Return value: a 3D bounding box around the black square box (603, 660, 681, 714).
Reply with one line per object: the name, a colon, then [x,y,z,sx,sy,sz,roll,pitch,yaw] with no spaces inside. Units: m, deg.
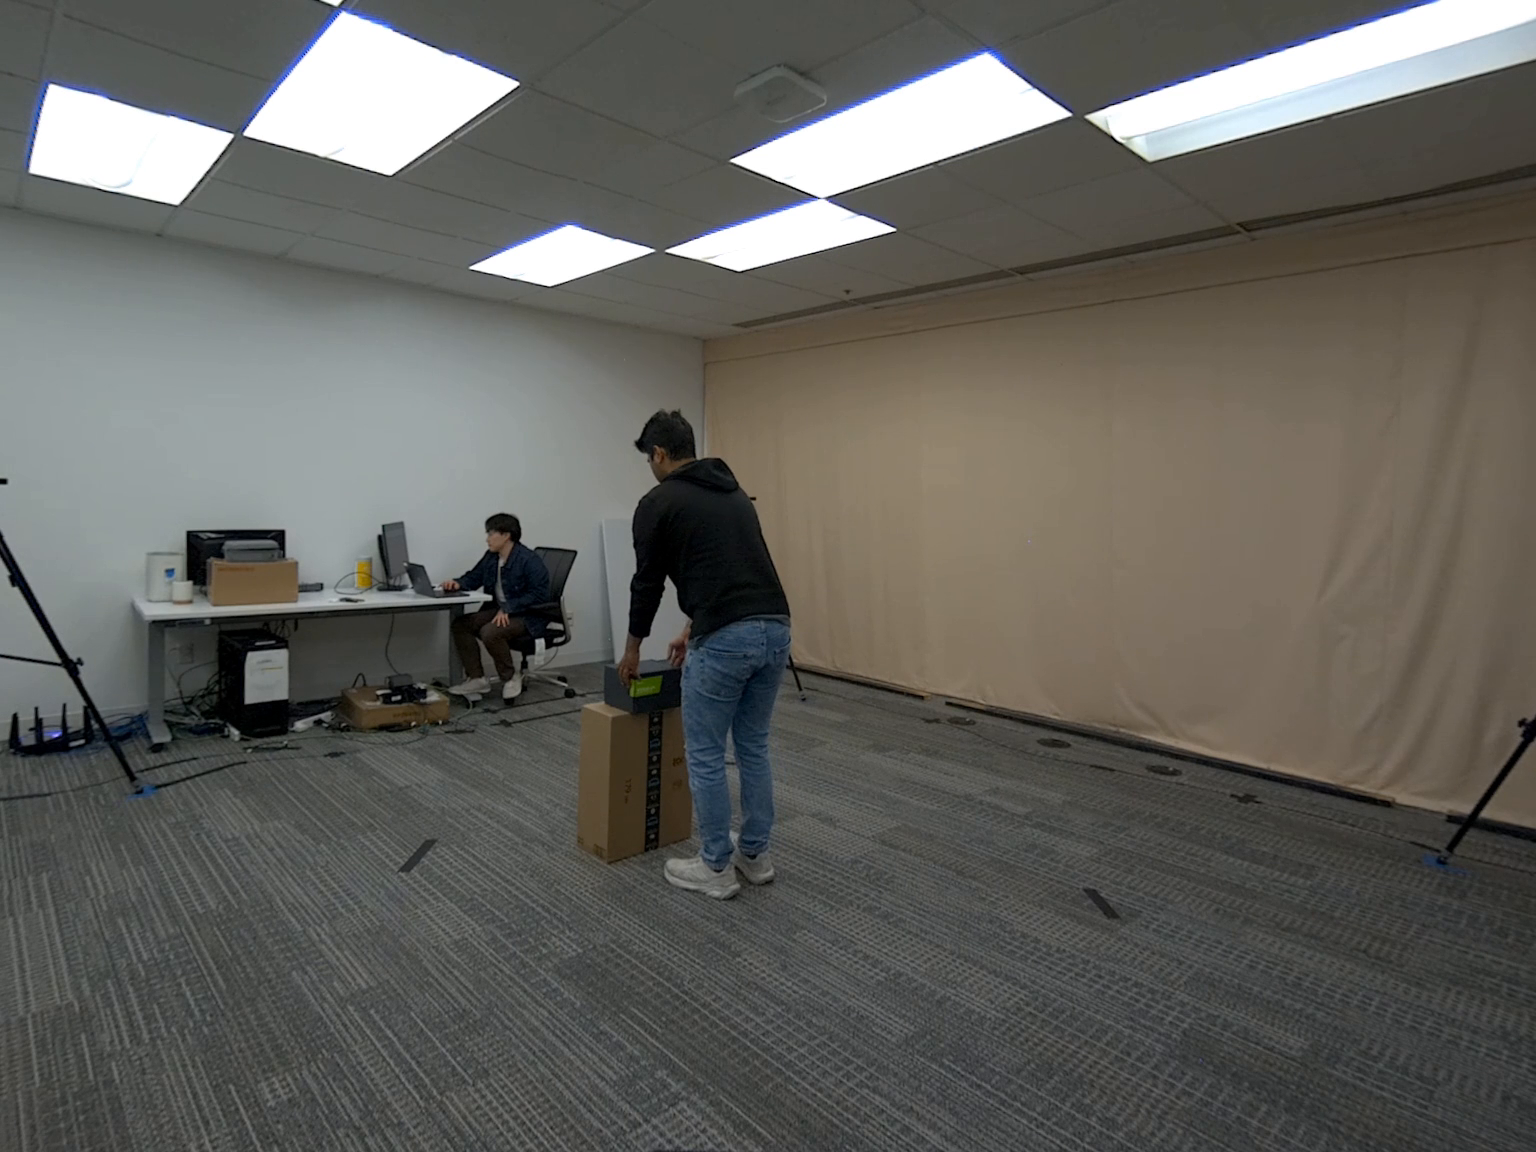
black square box: [-0.500,0.430,3.330,0.223,0.155,0.222,-2,6,-43]
